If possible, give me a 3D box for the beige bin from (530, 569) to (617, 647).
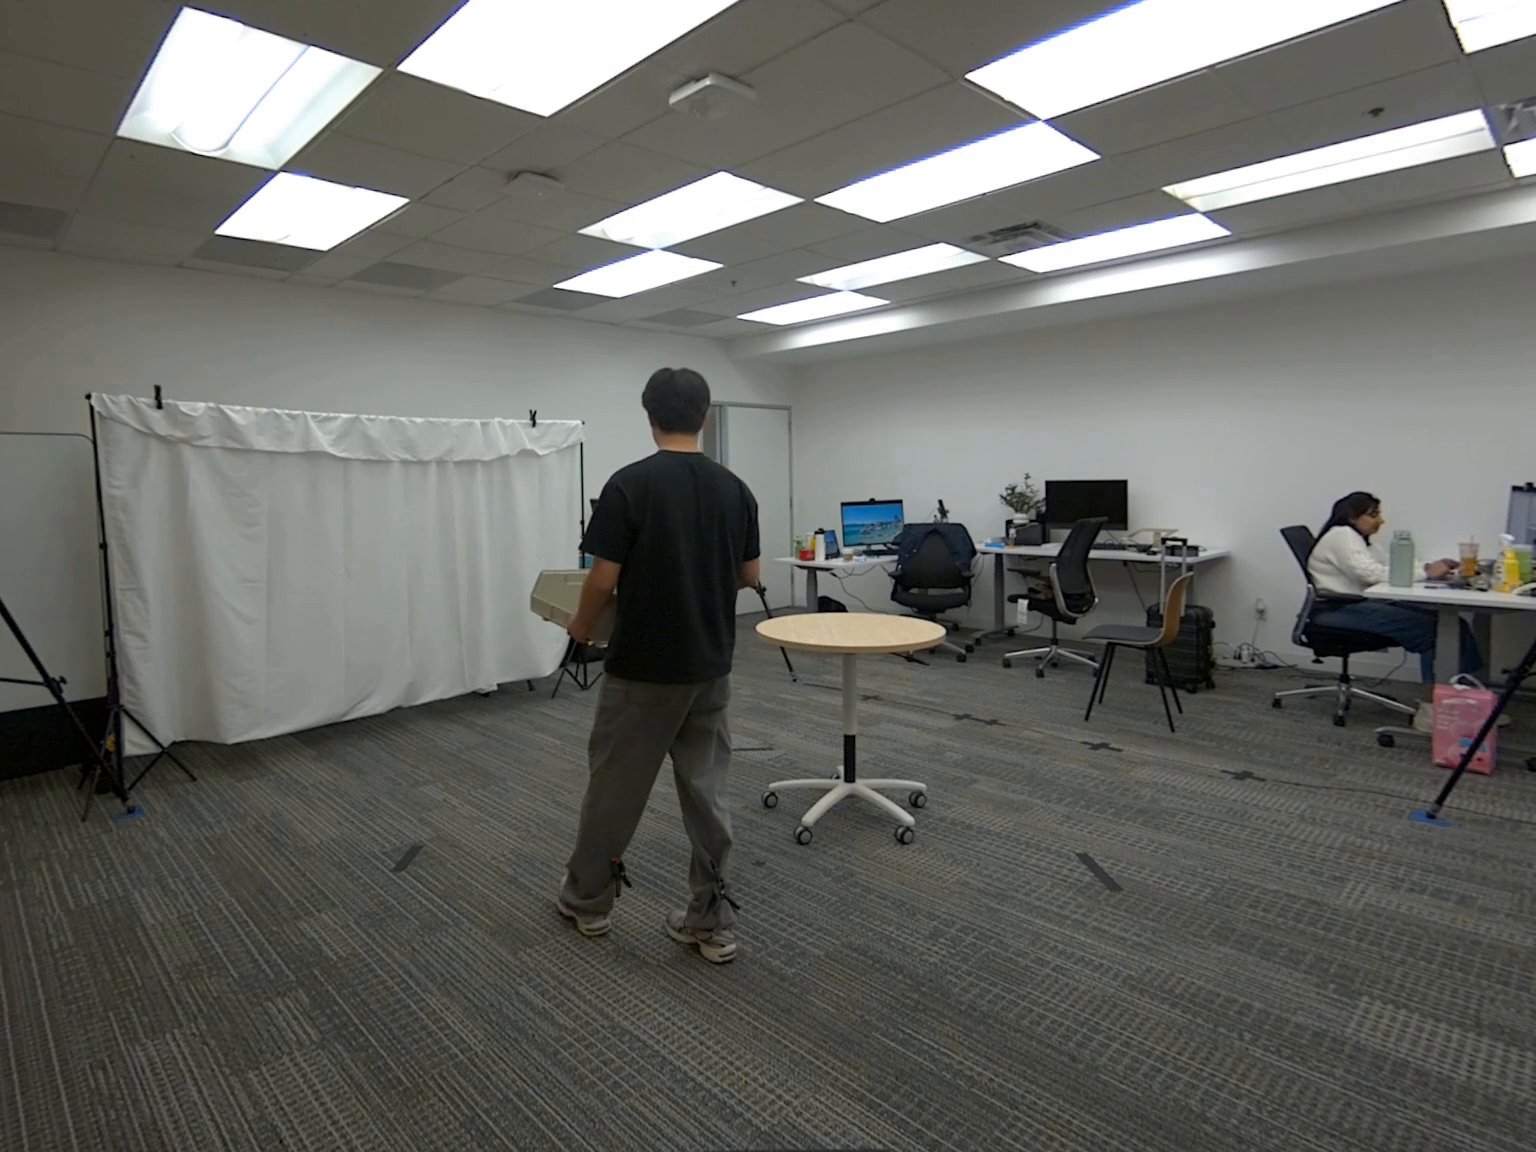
[{"bbox_3d":[-0.552,0.105,2.928,0.366,0.188,0.436,1,8,-40],"label":"beige bin"}]
